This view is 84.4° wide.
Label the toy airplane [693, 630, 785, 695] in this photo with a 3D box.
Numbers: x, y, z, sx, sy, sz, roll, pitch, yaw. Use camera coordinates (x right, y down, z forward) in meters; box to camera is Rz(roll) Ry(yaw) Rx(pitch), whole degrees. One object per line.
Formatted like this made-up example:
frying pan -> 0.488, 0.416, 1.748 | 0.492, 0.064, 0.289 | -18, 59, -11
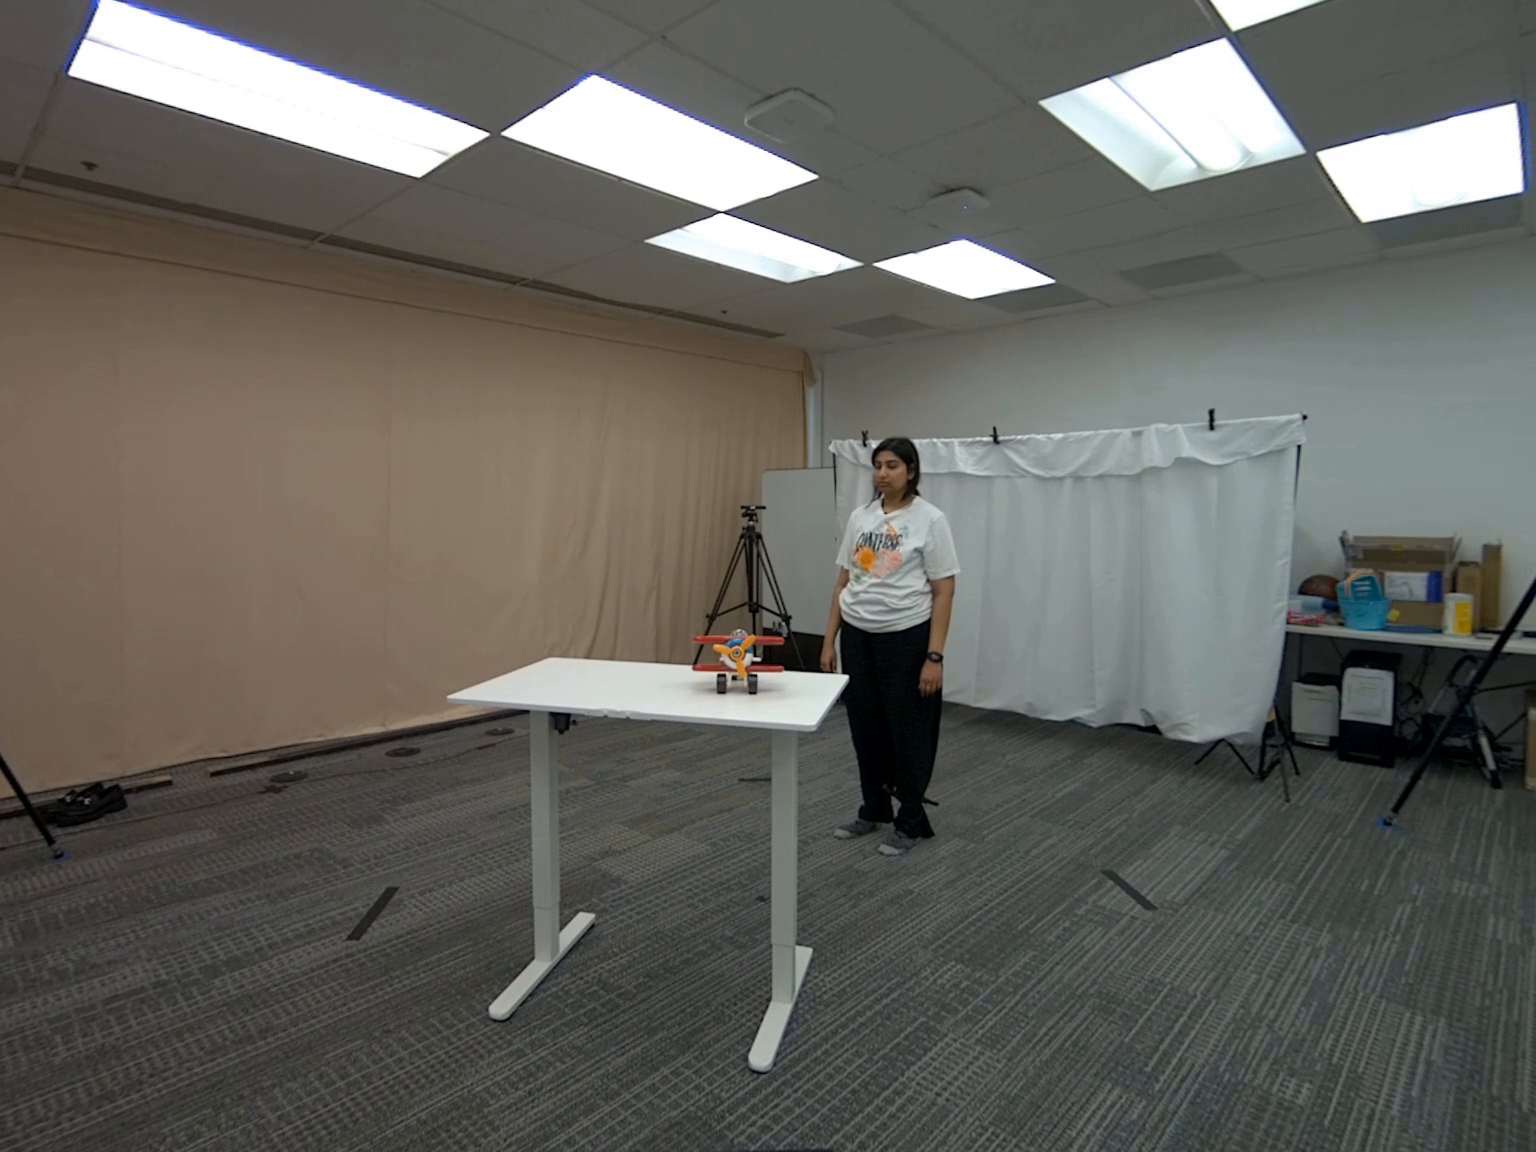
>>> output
toy airplane -> -0.095, 0.238, 2.365 | 0.245, 0.156, 0.266 | -4, 7, -25
